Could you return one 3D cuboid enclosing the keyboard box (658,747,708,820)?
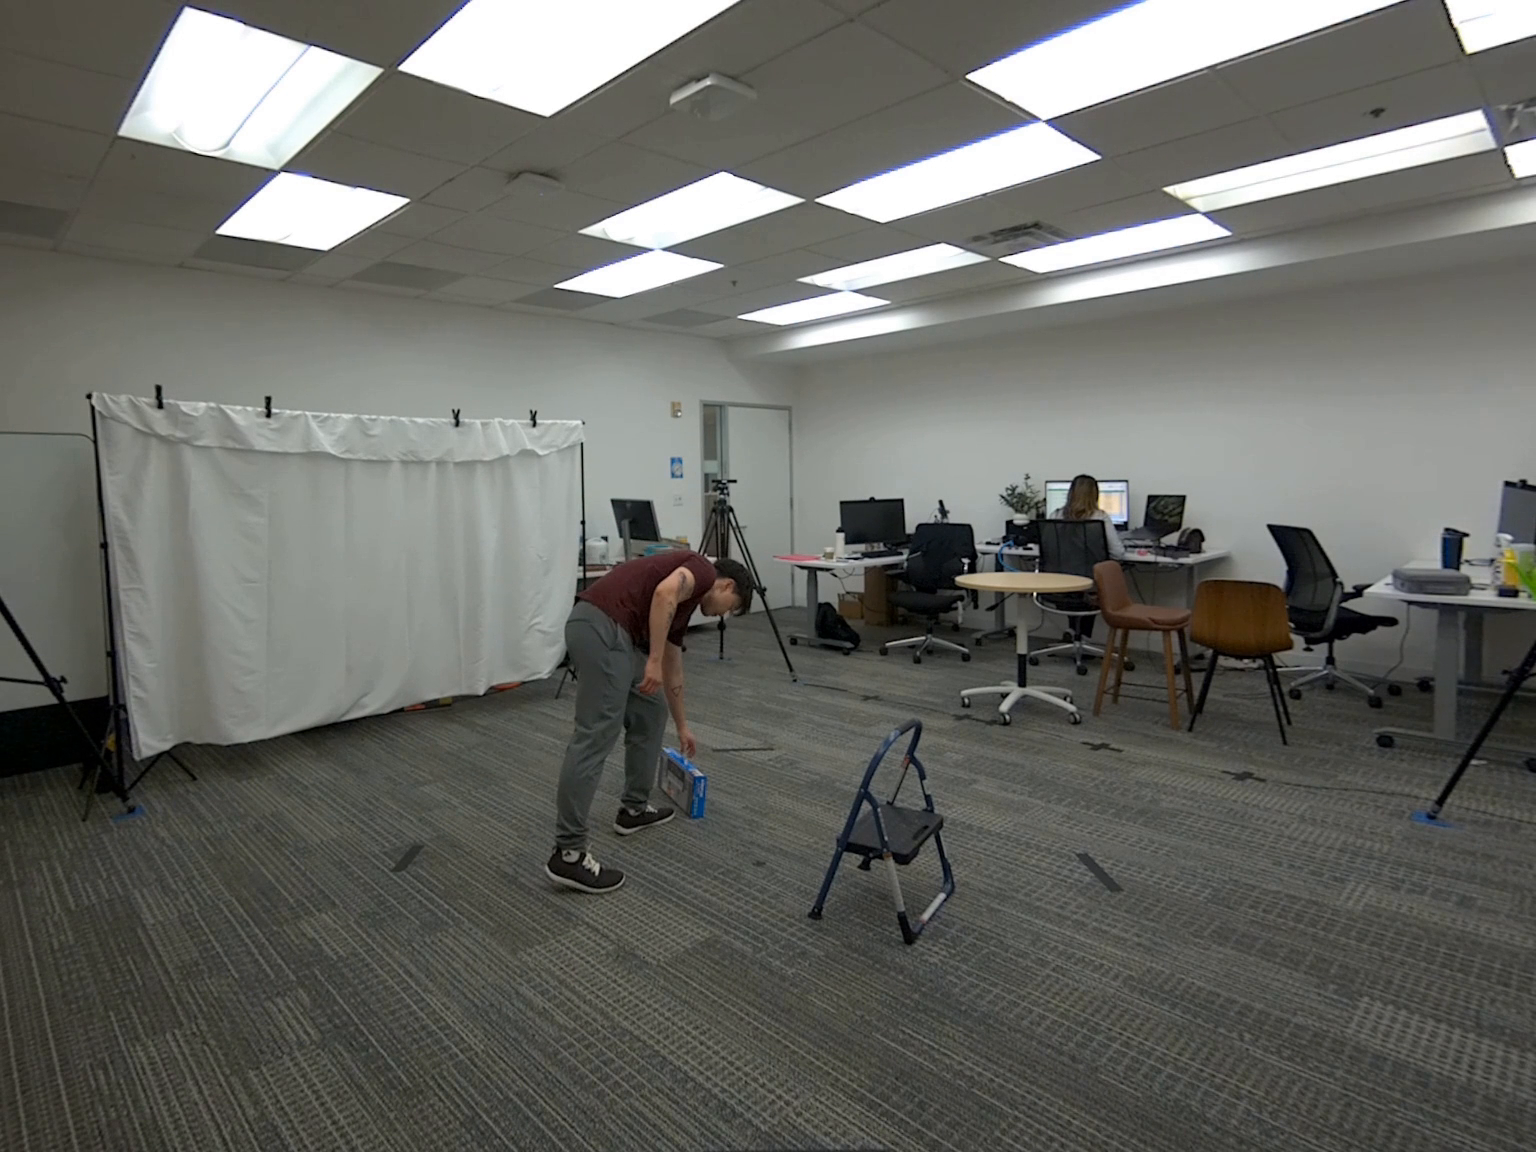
[{"bbox_3d":[-0.379,0.898,3.739,0.058,0.176,0.448,4,3,-25],"label":"keyboard box"}]
